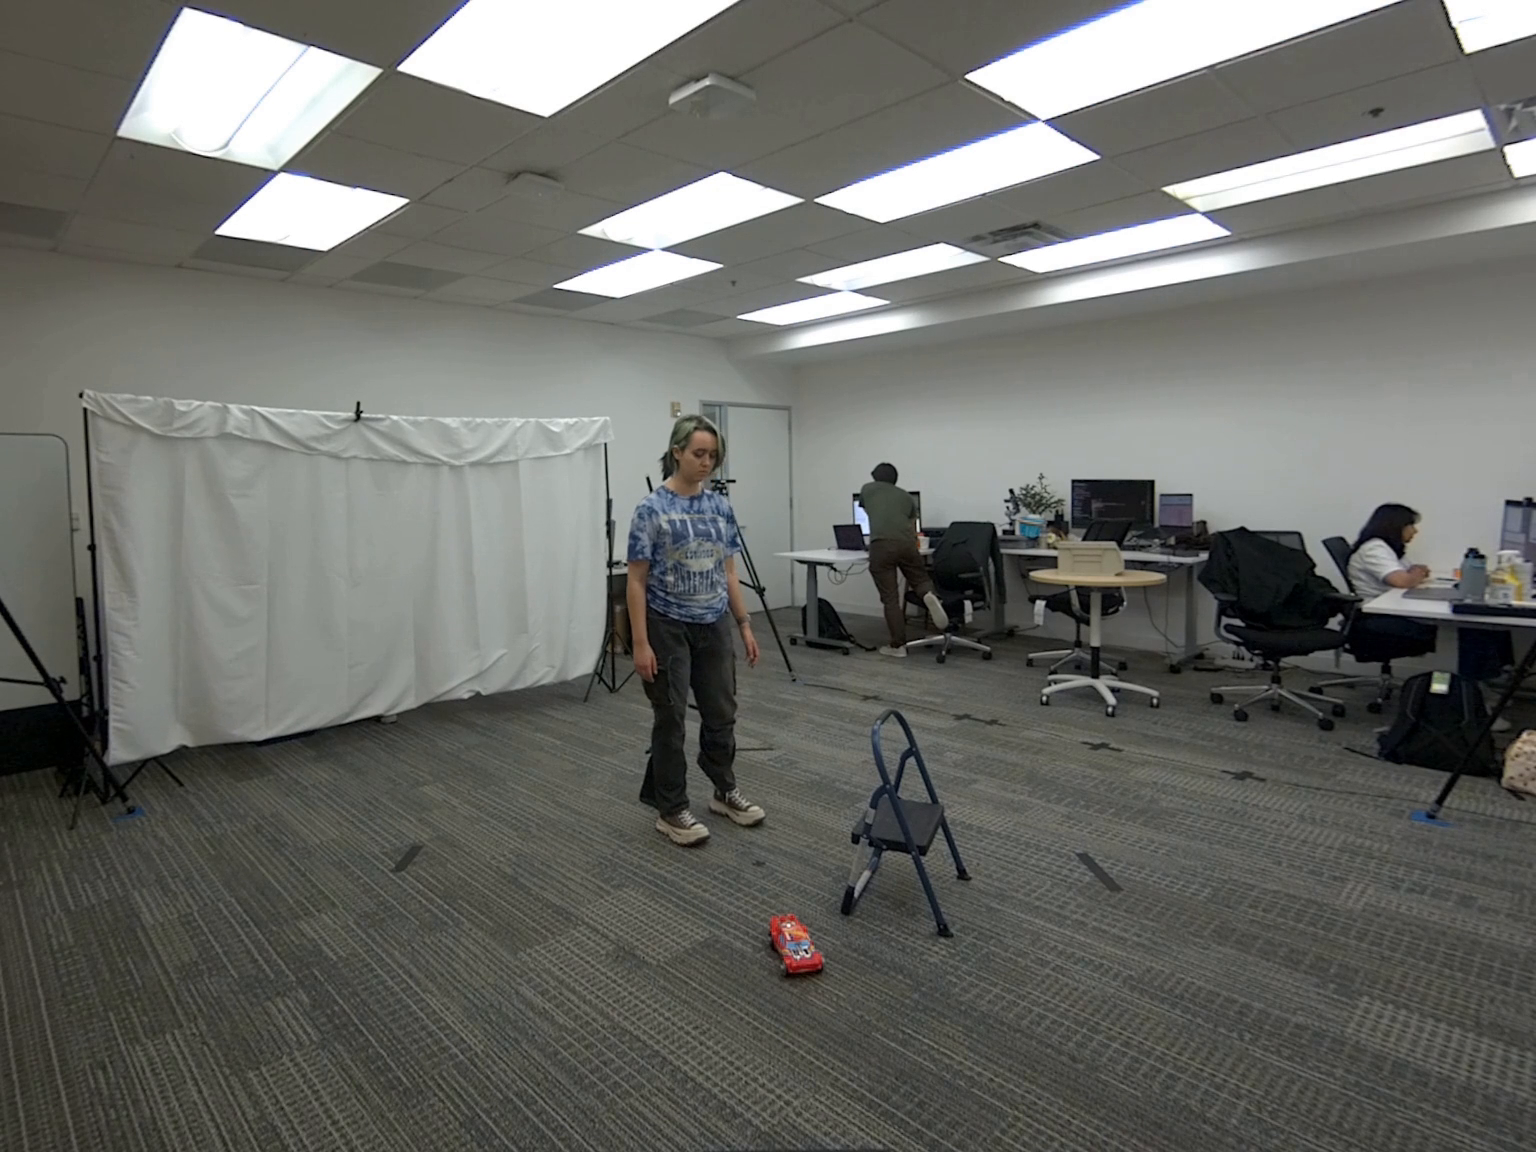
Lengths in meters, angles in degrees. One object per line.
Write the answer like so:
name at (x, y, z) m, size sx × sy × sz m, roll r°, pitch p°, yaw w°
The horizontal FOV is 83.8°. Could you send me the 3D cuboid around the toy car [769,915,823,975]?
toy car at (0.079, 1.084, 2.502) m, size 0.129 × 0.082 × 0.261 m, roll -3°, pitch 16°, yaw -13°
